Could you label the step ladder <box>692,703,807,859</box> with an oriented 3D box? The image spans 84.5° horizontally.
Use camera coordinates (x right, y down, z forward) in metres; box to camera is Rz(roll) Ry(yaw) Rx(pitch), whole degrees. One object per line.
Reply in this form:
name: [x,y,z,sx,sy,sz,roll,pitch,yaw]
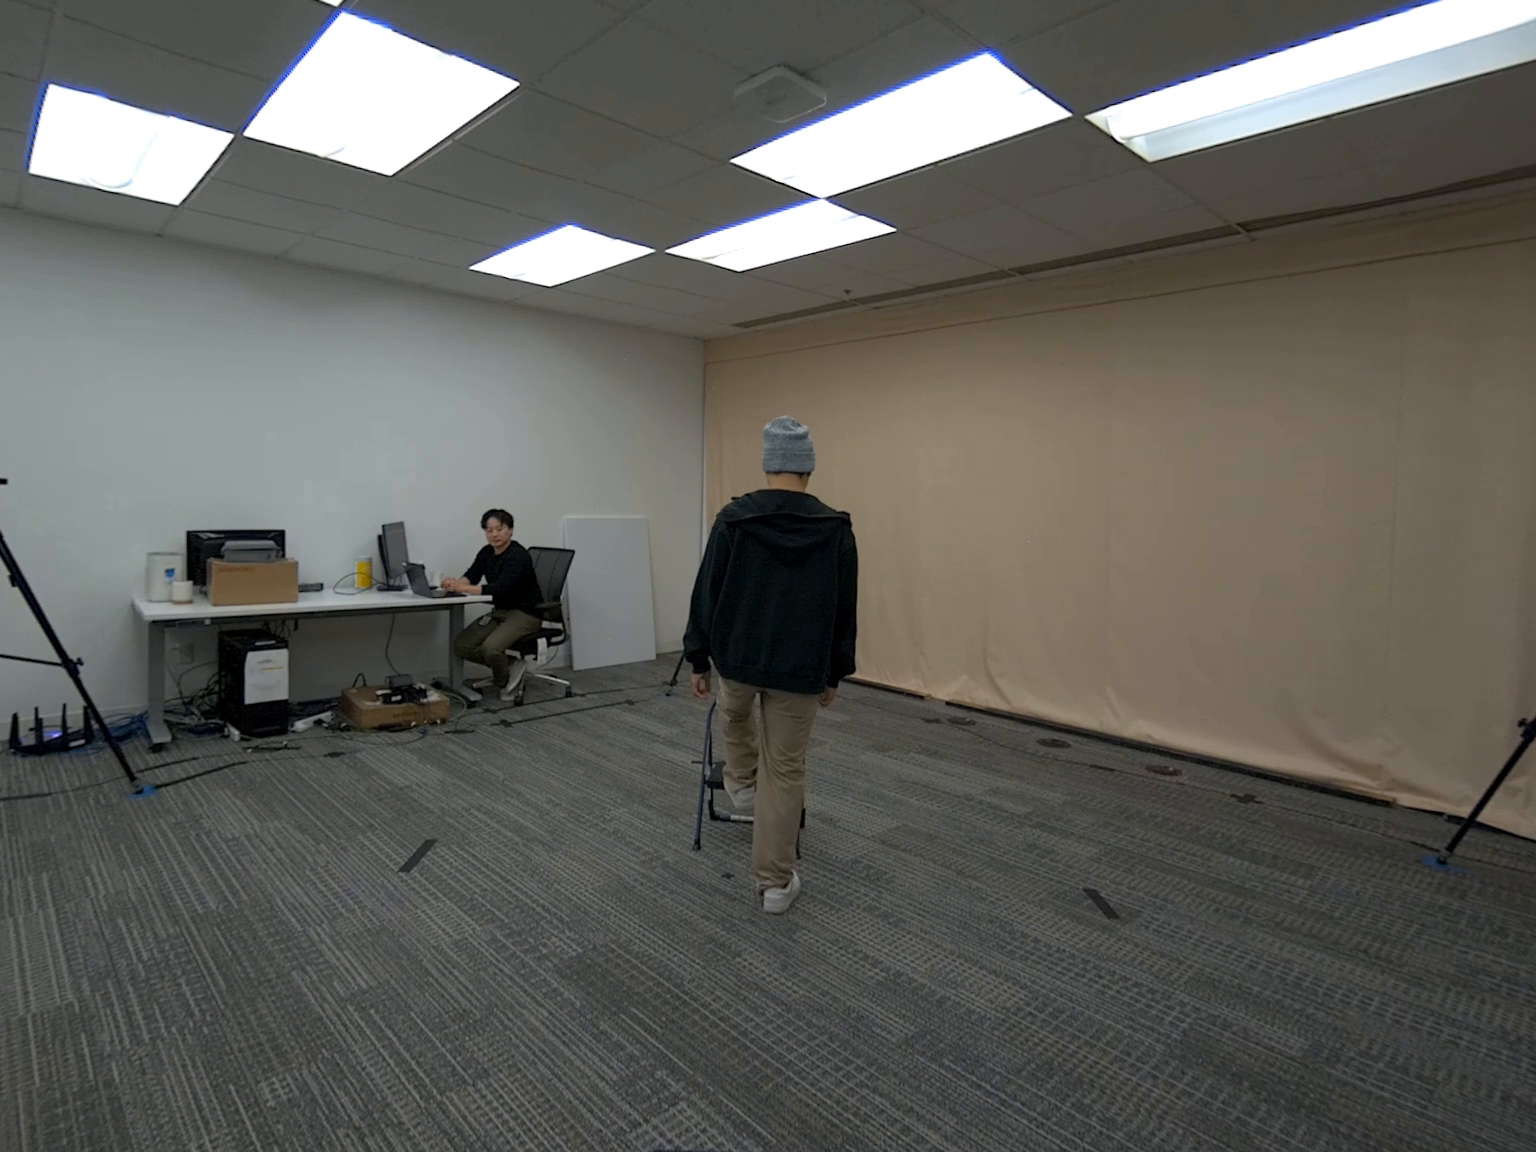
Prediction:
step ladder: [-0.064,0.779,3.453,0.433,0.604,0.348,2,3,7]
